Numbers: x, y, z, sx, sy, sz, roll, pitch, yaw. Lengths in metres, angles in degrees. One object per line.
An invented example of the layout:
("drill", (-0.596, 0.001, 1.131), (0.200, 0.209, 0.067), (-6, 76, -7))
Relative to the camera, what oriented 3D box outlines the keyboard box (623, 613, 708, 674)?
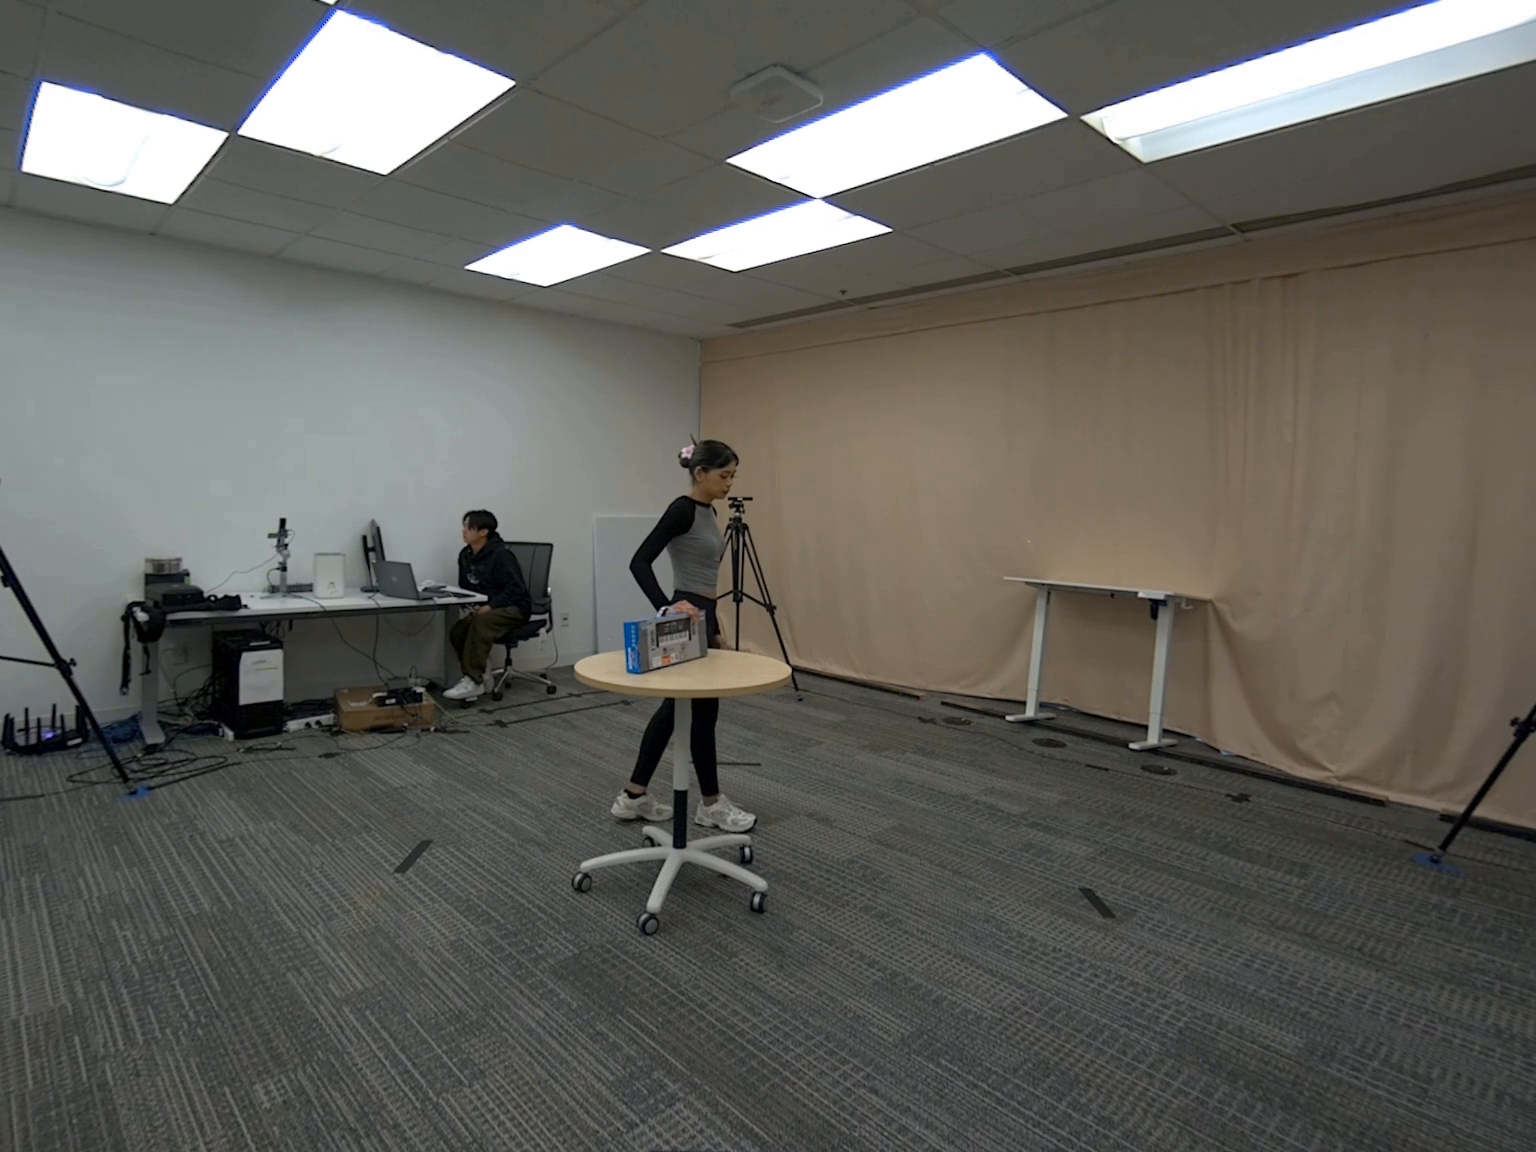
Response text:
("keyboard box", (-0.369, 0.230, 3.015), (0.060, 0.176, 0.429), (-2, 2, 28))
